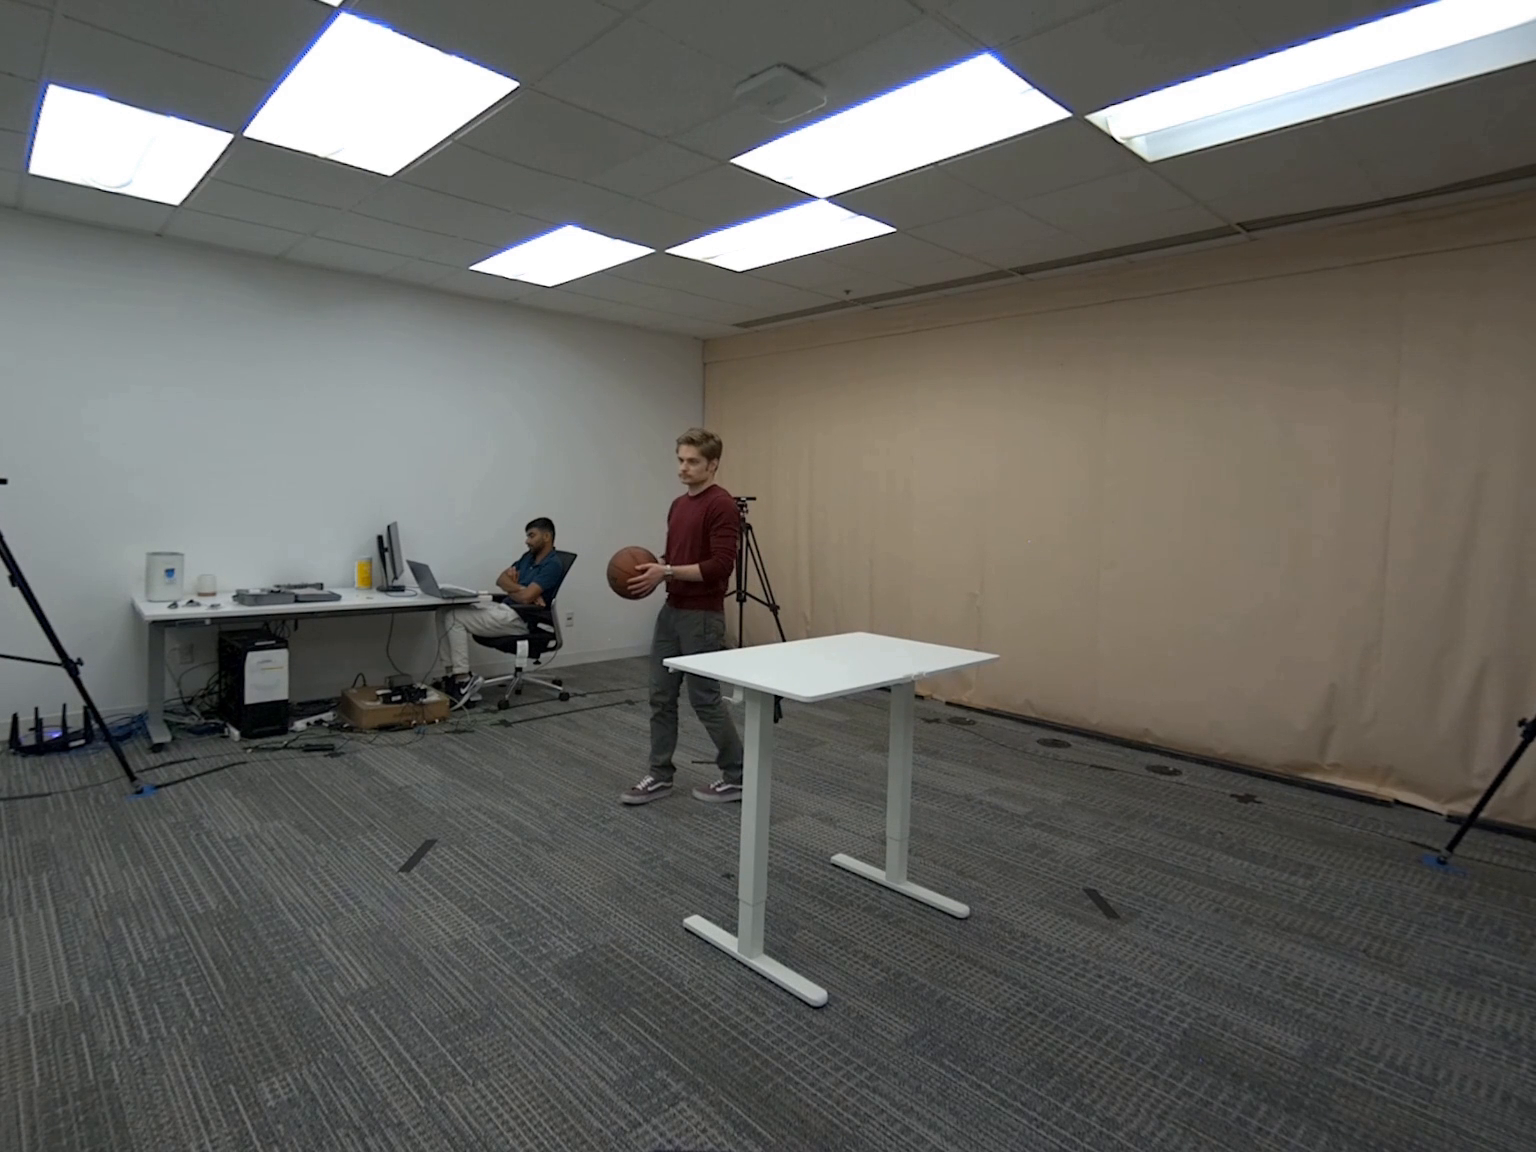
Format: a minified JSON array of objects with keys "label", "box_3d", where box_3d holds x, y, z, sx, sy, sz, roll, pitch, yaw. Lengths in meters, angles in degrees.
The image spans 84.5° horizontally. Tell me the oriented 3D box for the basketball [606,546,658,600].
[{"label":"basketball","box_3d":[-0.601,-0.015,3.744,0.236,0.235,0.237,1,4,-1]}]
